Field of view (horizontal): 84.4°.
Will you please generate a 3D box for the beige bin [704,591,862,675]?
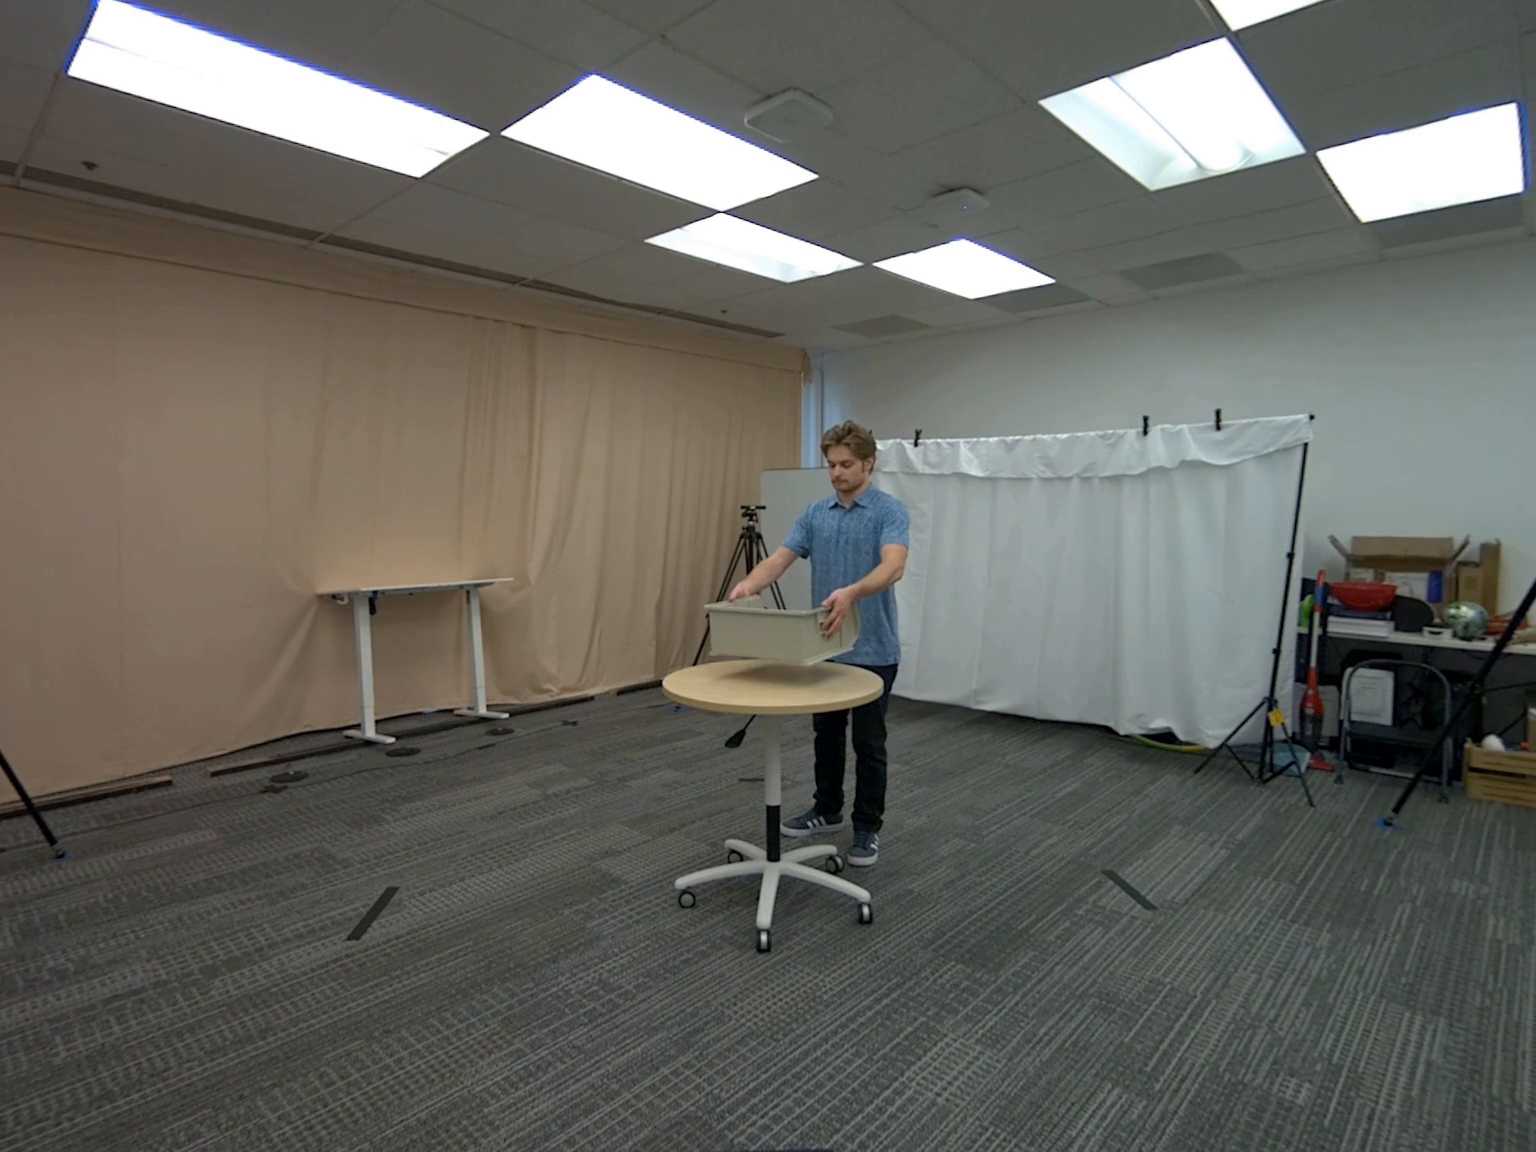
[{"bbox_3d":[0.060,0.186,2.984,0.436,0.188,0.367,4,9,35],"label":"beige bin"}]
